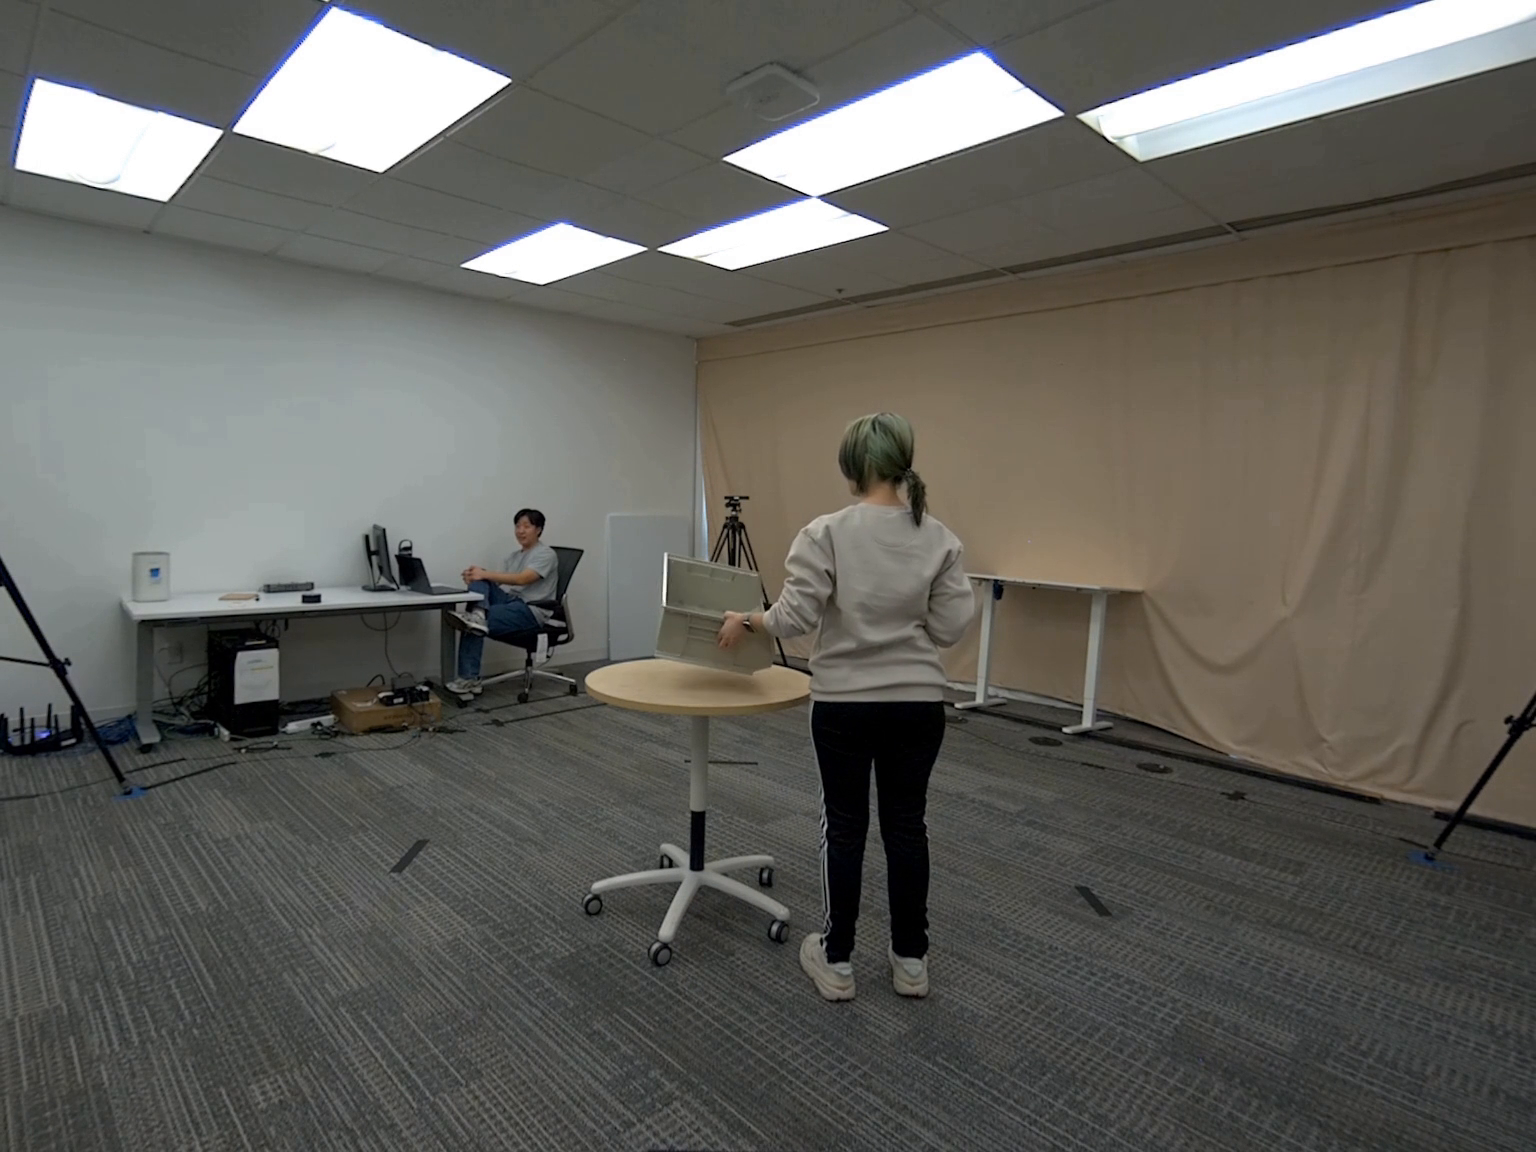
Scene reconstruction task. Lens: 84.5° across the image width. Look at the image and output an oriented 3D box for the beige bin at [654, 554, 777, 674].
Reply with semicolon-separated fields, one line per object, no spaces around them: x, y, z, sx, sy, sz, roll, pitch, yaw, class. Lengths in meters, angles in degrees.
-0.185;0.121;2.764;0.374;0.187;0.430;11;23;-10;beige bin
